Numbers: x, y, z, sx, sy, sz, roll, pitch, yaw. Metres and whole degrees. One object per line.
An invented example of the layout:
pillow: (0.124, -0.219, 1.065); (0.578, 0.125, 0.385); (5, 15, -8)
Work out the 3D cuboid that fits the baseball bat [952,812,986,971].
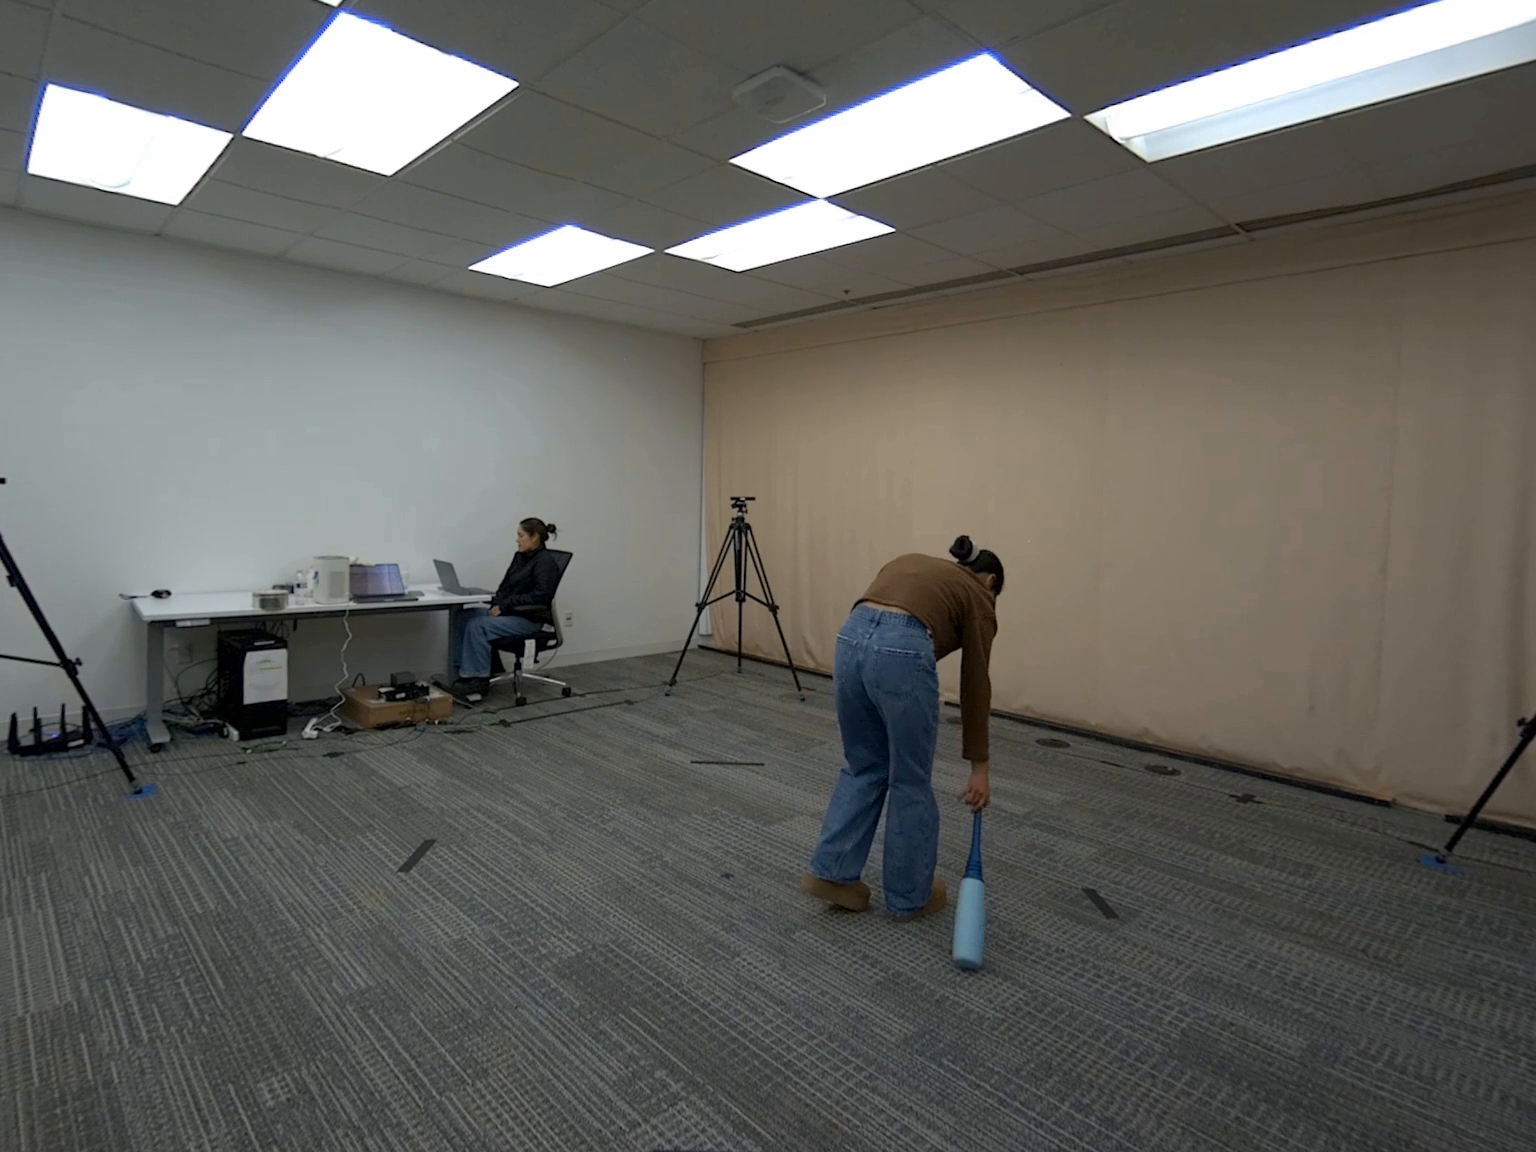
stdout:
baseball bat: (0.648, 0.956, 2.664); (0.090, 0.550, 0.086); (2, -41, 18)
